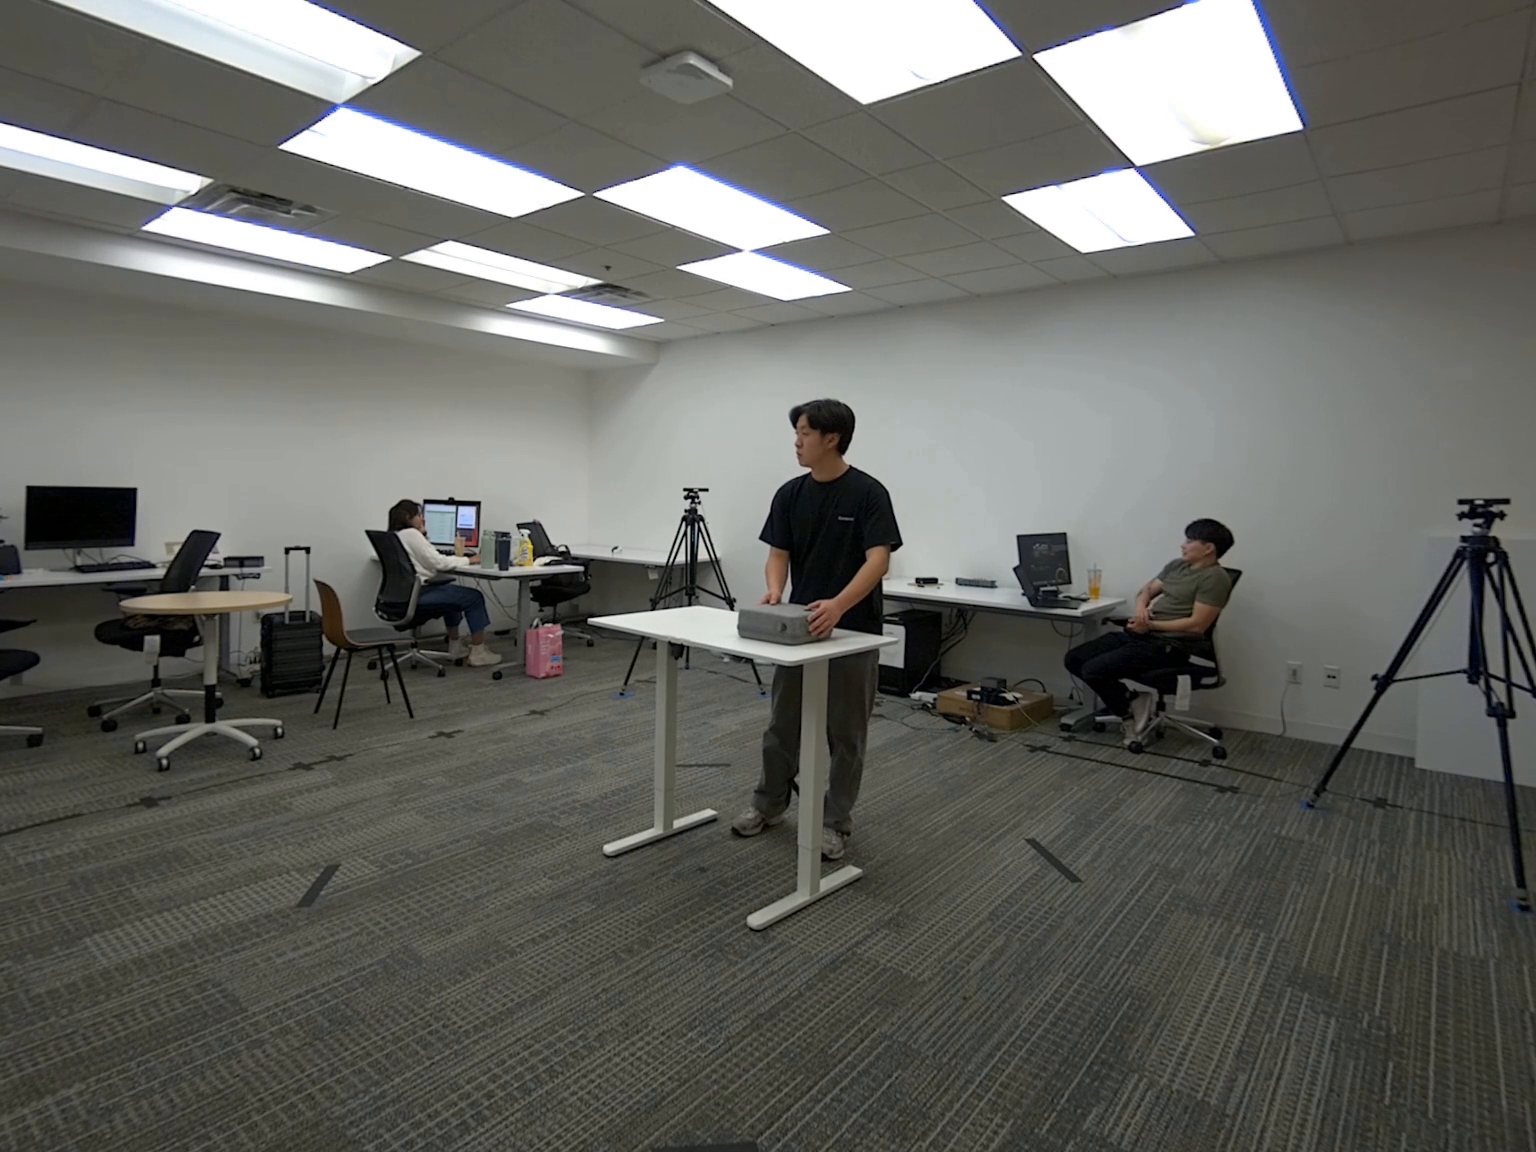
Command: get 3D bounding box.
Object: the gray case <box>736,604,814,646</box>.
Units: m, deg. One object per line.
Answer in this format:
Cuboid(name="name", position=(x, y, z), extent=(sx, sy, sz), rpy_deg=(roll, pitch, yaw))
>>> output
Cuboid(name="gray case", position=(0.058, 0.163, 2.922), extent=(0.297, 0.102, 0.255), rpy_deg=(6, 7, 41))
